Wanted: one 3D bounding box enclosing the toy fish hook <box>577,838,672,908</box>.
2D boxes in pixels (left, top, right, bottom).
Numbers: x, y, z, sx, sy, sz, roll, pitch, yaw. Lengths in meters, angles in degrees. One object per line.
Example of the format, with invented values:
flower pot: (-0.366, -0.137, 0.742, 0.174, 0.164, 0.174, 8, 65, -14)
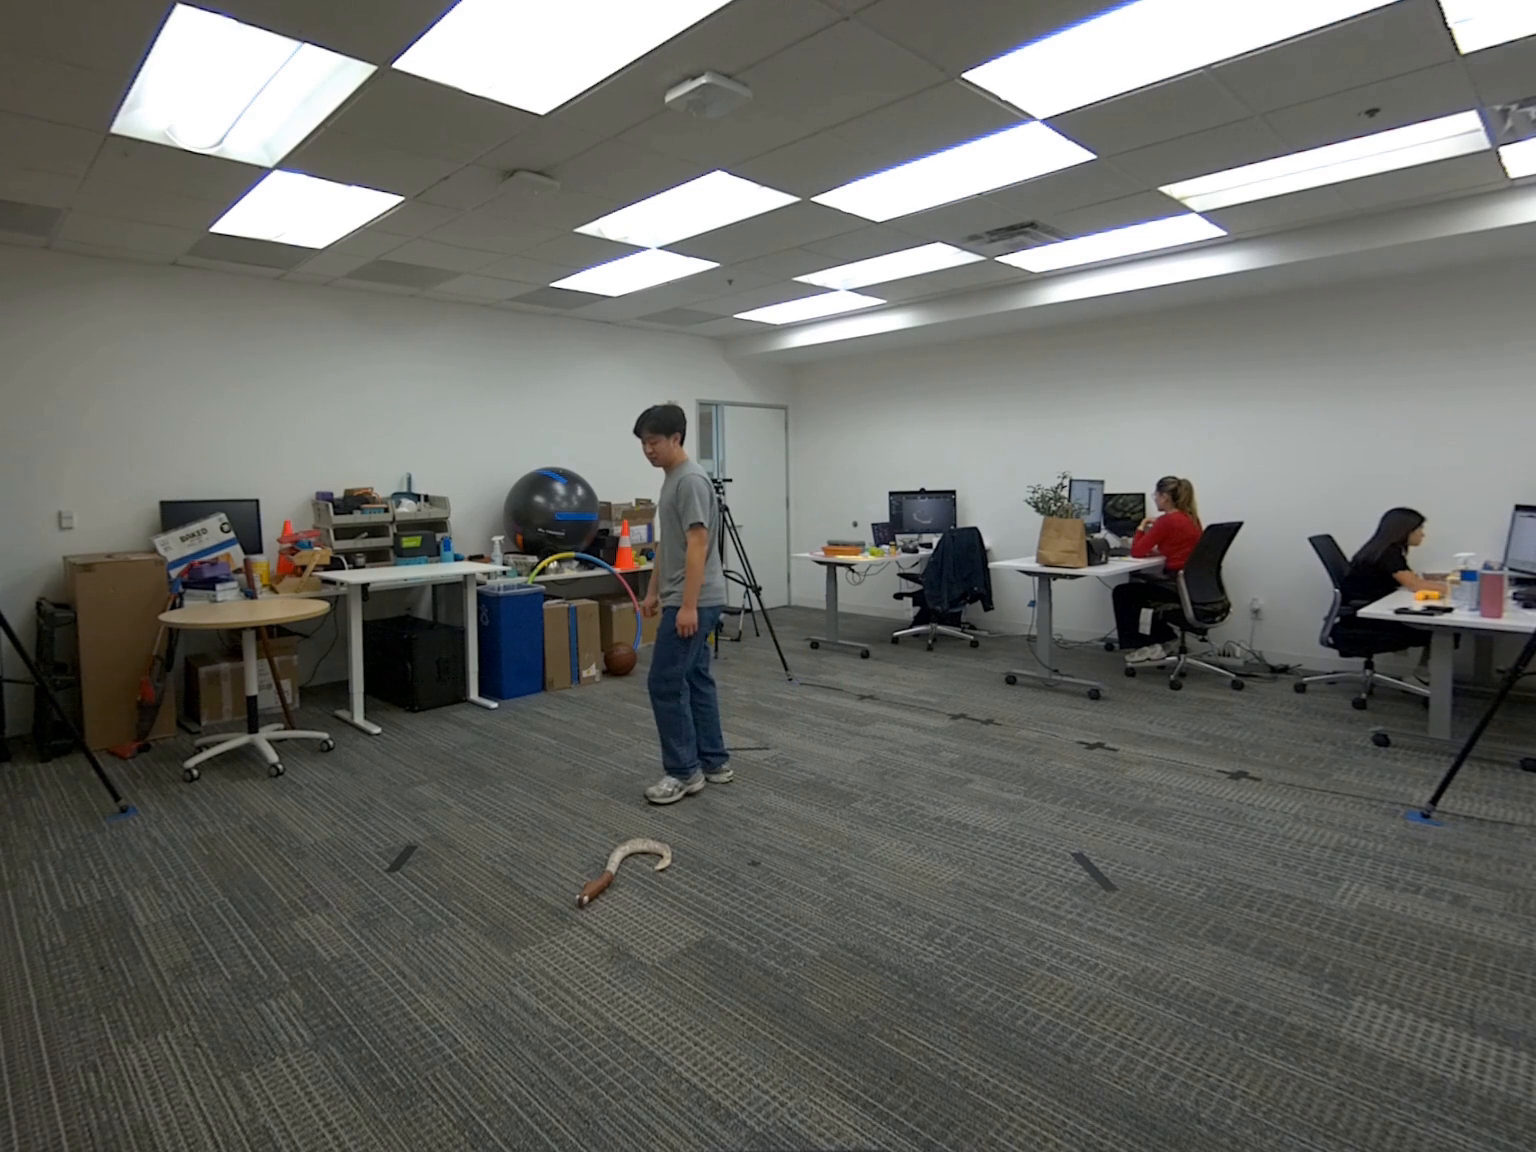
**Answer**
toy fish hook: (-0.497, 1.043, 3.010, 0.228, 0.048, 0.501, 0, 7, 17)
